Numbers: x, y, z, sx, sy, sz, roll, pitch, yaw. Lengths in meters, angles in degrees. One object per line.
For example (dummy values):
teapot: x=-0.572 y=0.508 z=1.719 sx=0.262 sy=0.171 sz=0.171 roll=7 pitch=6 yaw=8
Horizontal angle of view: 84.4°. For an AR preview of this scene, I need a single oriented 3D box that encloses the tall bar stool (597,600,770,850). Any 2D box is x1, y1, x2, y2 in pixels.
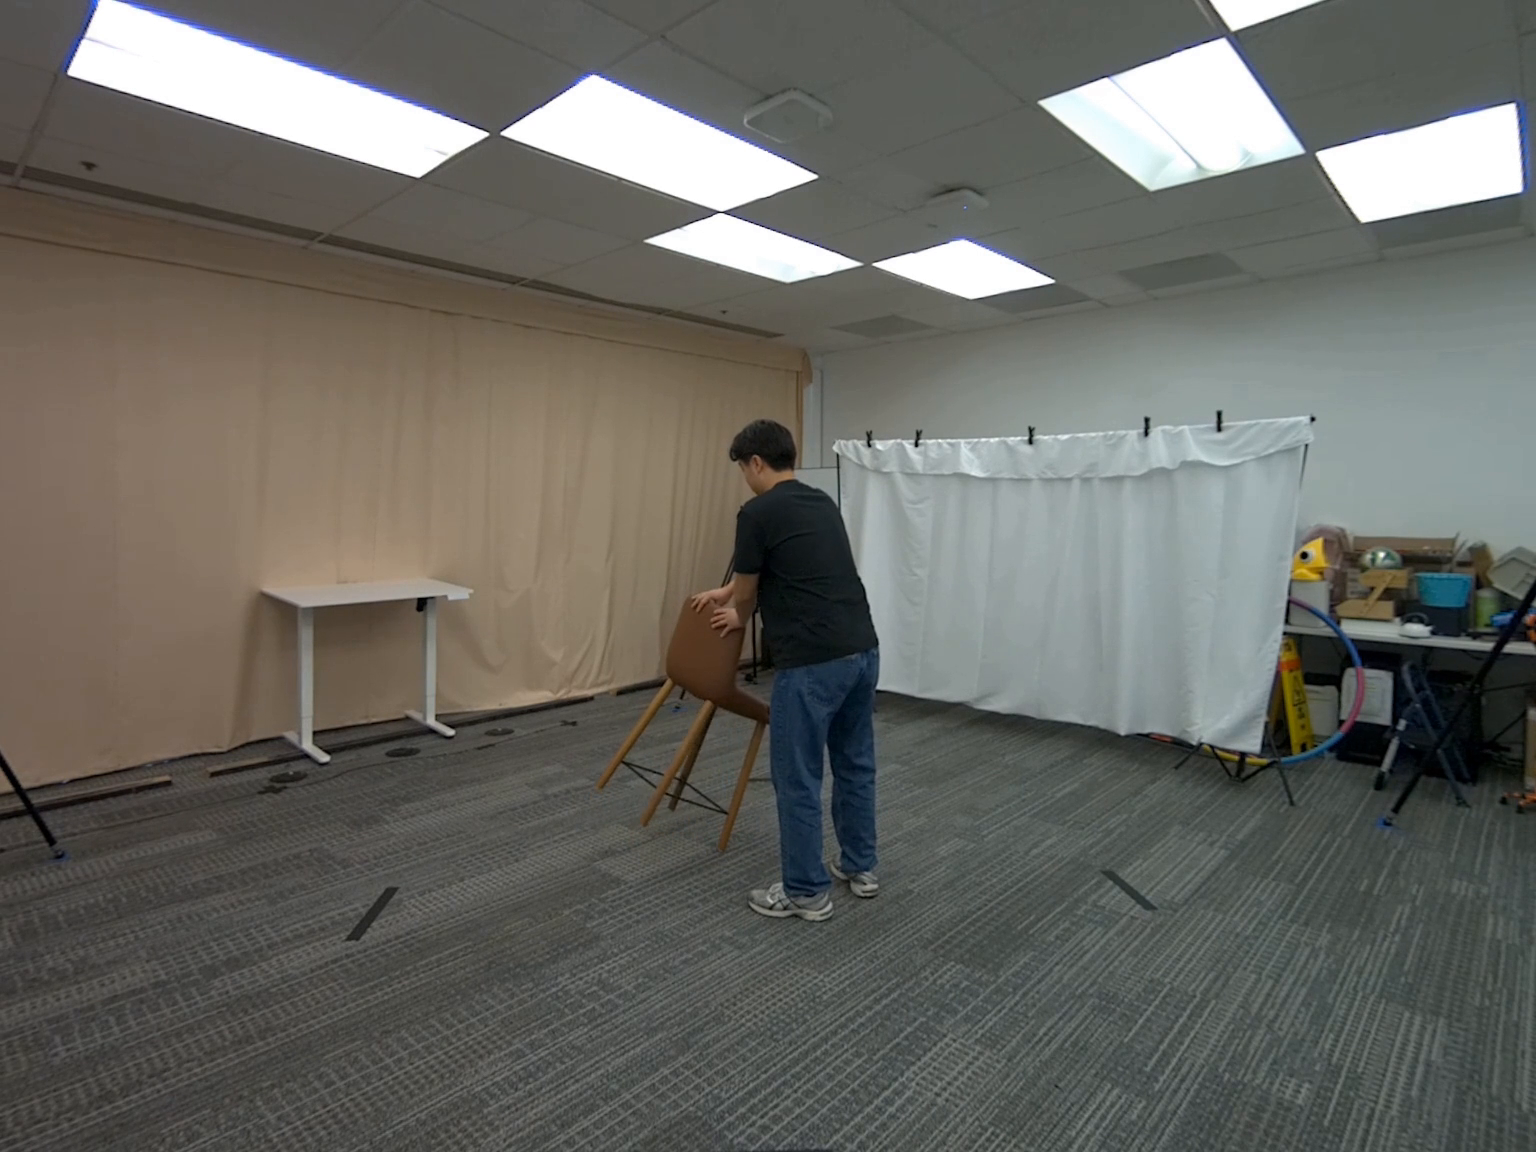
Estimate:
tall bar stool: x=-0.267 y=0.591 z=3.469 sx=0.451 sy=0.890 sz=0.473 roll=29 pitch=-8 yaw=-39
